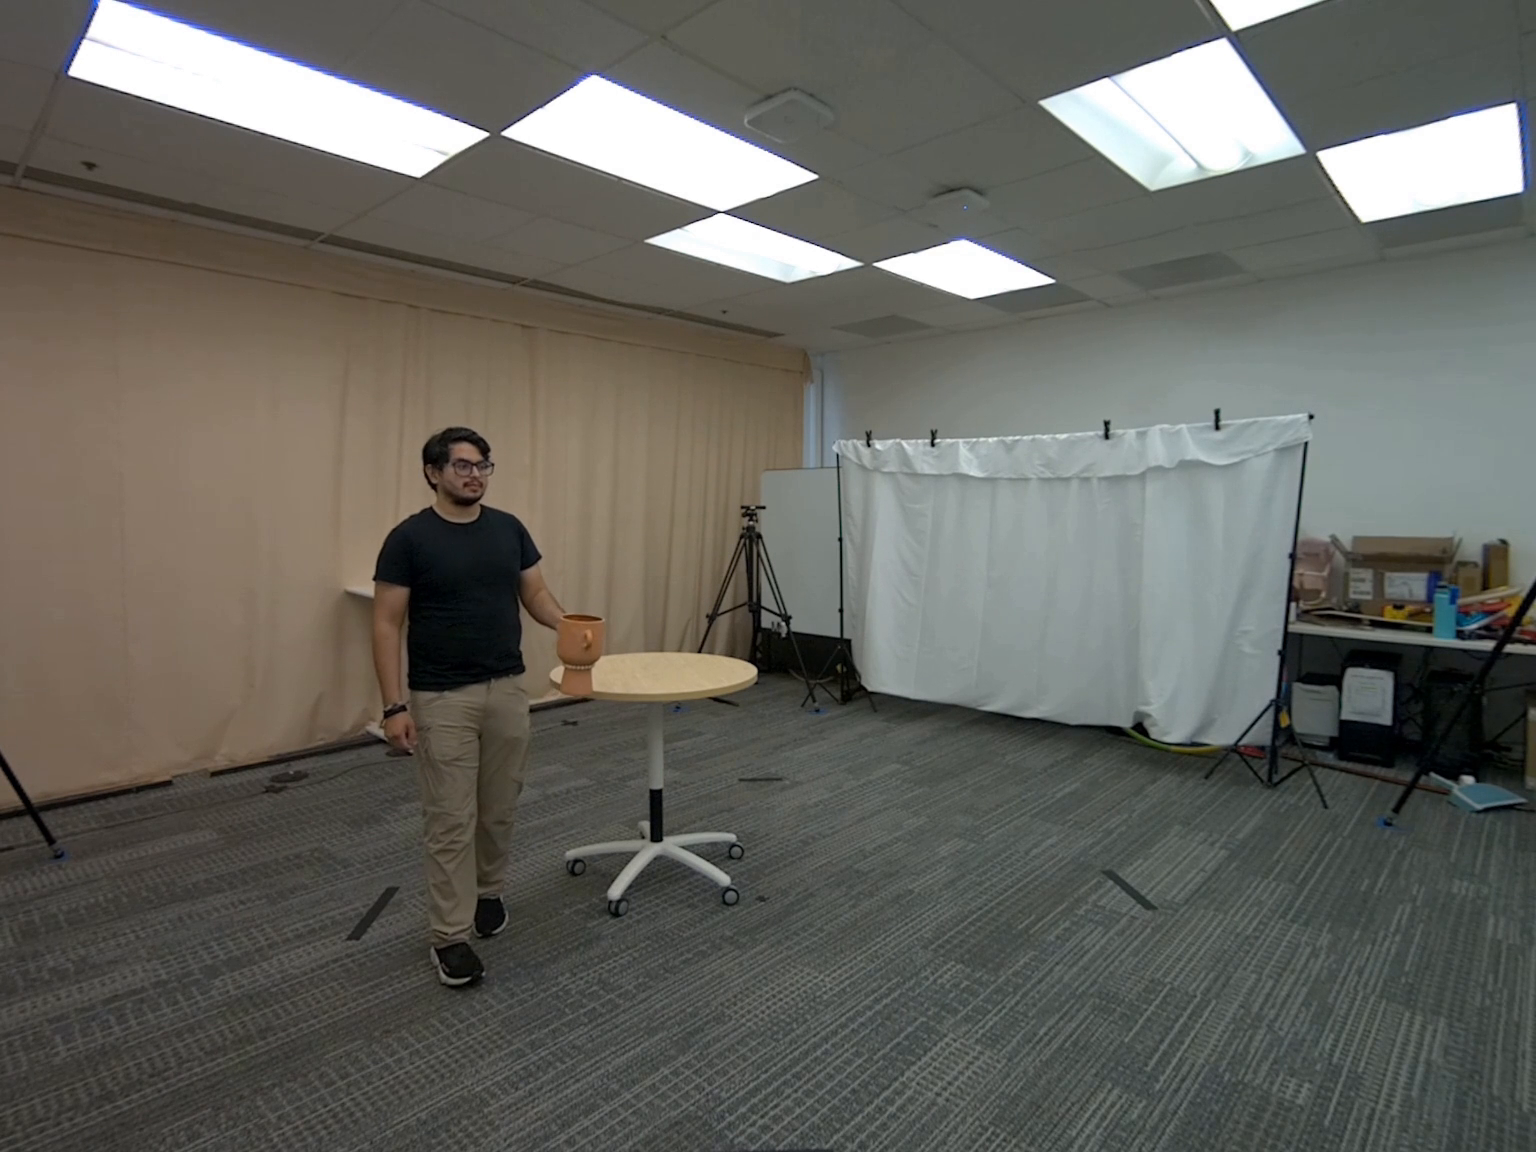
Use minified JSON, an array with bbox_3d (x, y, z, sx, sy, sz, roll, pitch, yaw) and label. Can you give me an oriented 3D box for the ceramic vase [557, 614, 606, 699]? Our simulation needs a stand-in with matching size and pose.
[{"bbox_3d":[-0.555,0.232,2.439,0.137,0.219,0.157,8,6,12],"label":"ceramic vase"}]
